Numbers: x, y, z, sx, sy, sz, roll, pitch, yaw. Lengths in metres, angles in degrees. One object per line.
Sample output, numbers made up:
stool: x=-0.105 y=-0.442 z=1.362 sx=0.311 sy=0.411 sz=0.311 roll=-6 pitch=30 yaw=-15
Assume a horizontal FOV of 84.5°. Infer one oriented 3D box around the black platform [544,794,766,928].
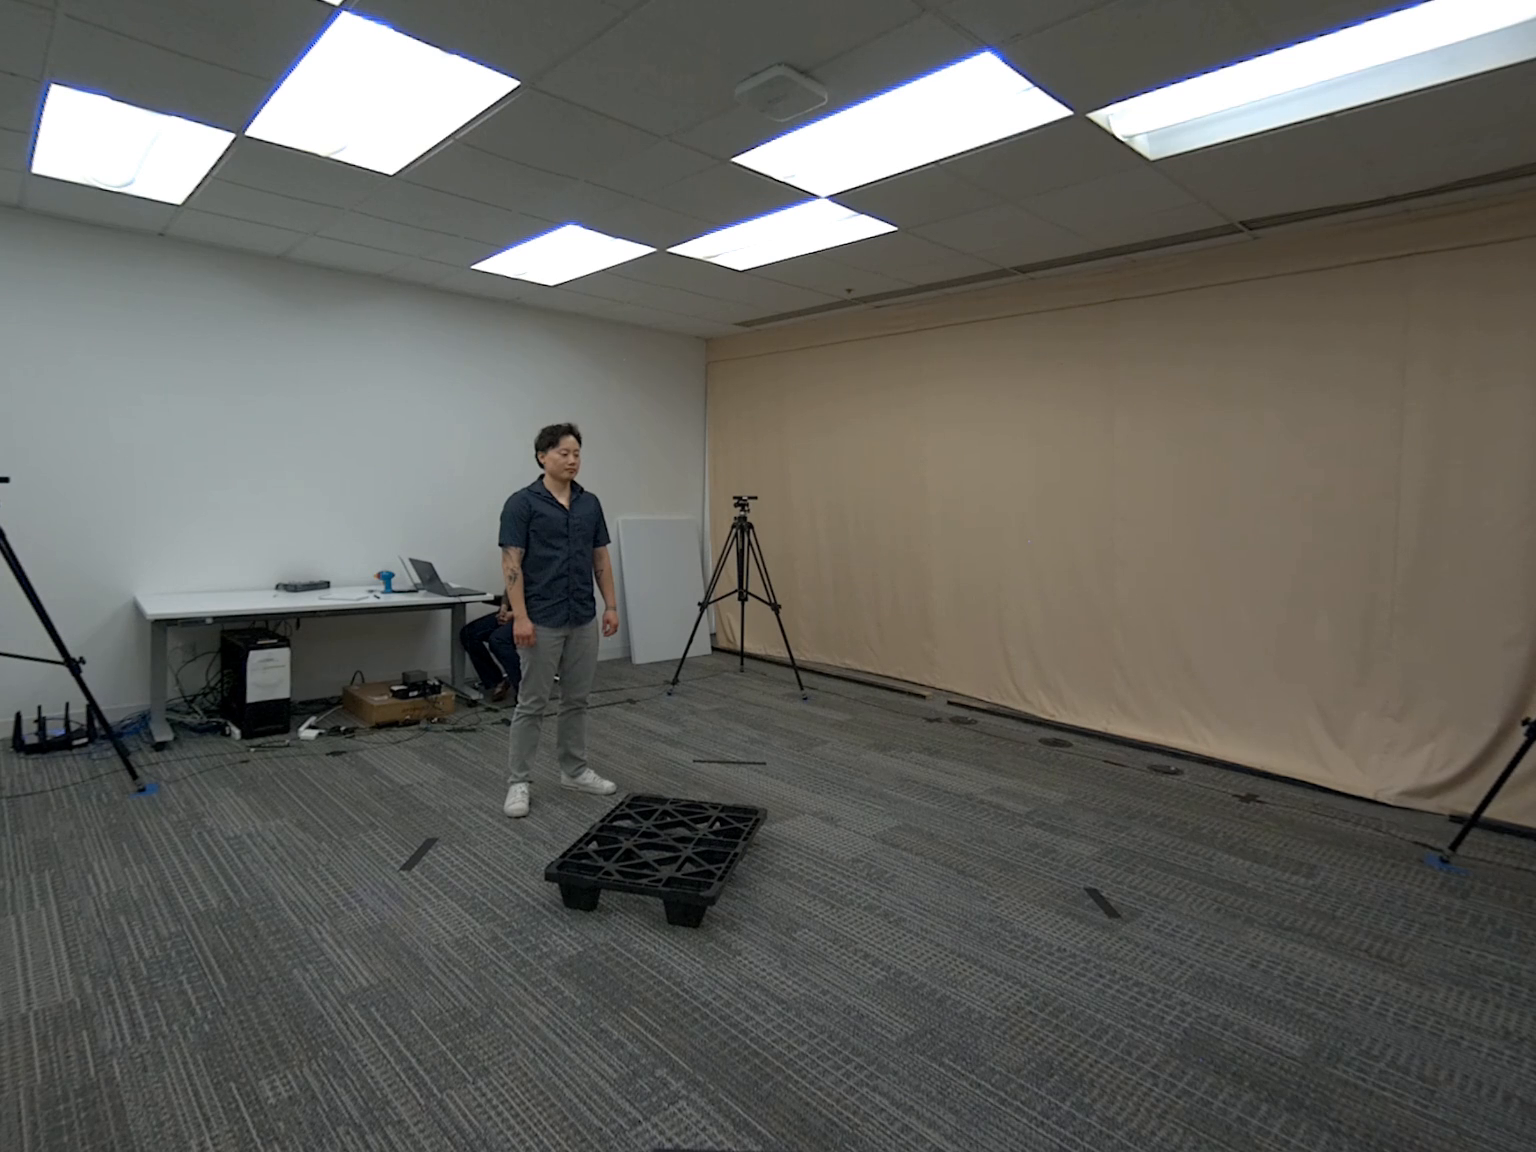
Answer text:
black platform: x=-0.379 y=1.029 z=3.117 sx=0.612 sy=0.143 sz=0.799 roll=3 pitch=6 yaw=13
